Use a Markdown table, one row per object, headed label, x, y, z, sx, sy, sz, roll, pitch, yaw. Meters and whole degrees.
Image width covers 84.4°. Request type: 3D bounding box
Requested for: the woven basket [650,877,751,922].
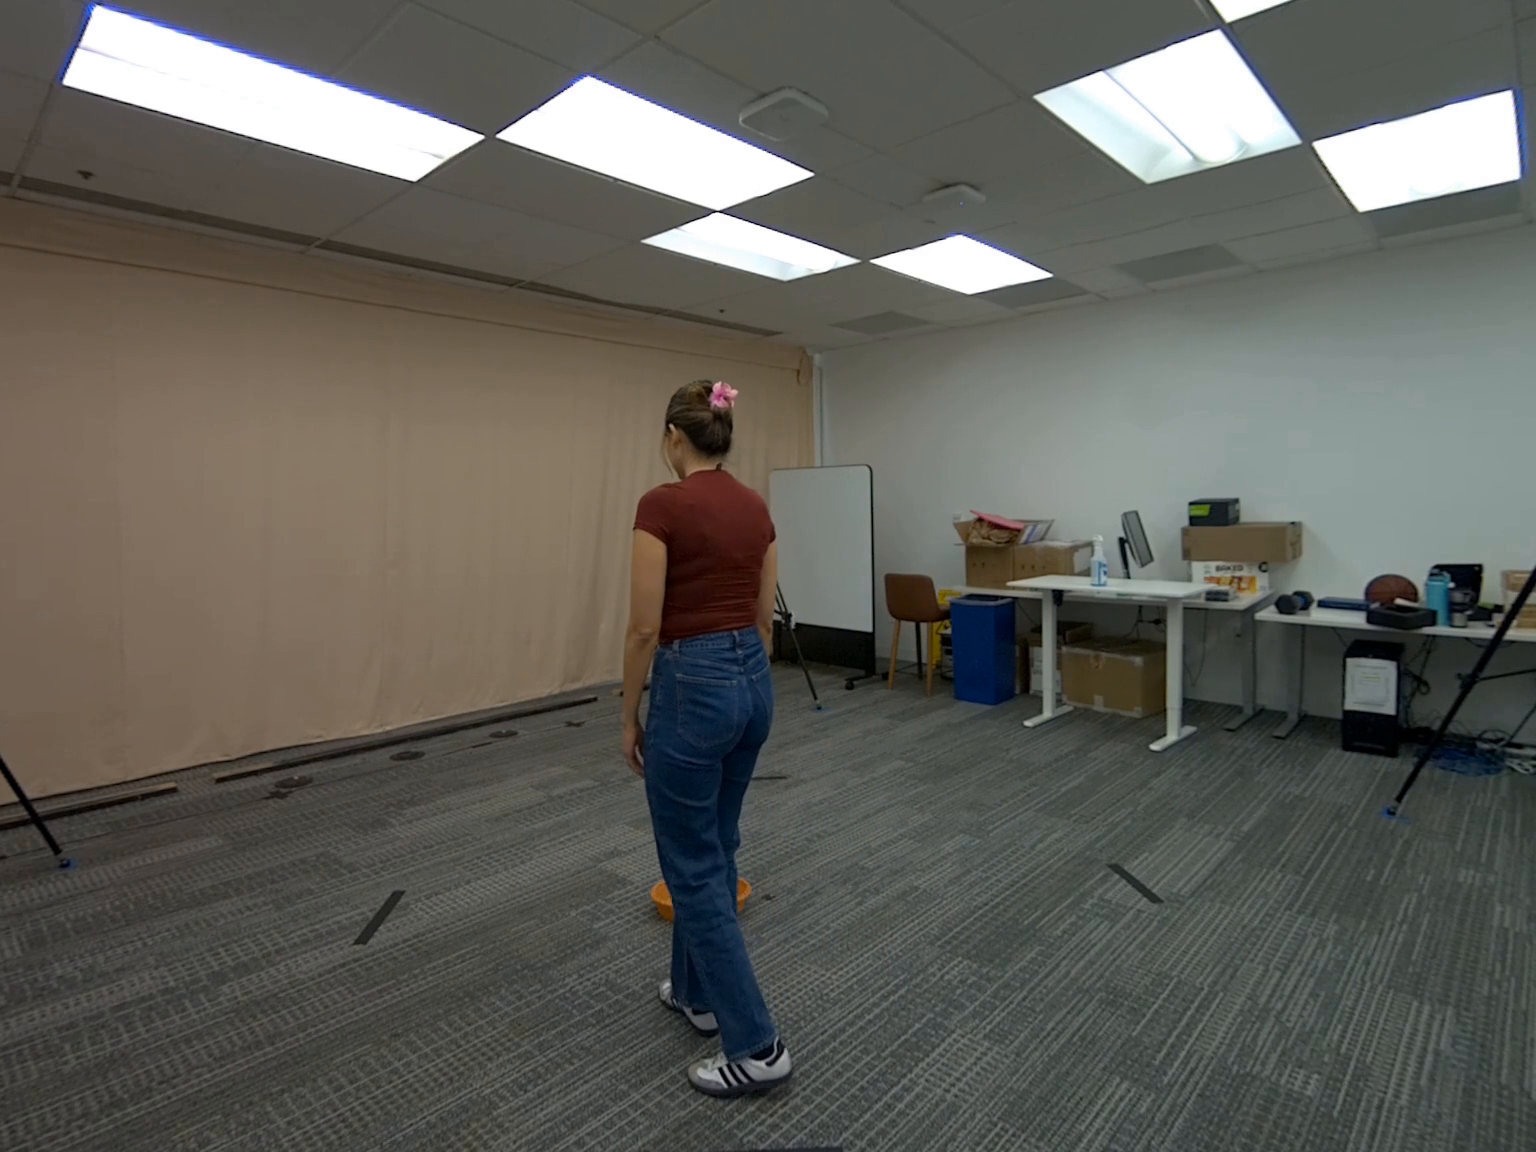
| label | x | y | z | sx | sy | sz | roll | pitch | yaw |
| --- | --- | --- | --- | --- | --- | --- | --- | --- | --- |
| woven basket | -0.229 | 1.114 | 2.900 | 0.349 | 0.073 | 0.254 | -1 | 3 | -5 |
